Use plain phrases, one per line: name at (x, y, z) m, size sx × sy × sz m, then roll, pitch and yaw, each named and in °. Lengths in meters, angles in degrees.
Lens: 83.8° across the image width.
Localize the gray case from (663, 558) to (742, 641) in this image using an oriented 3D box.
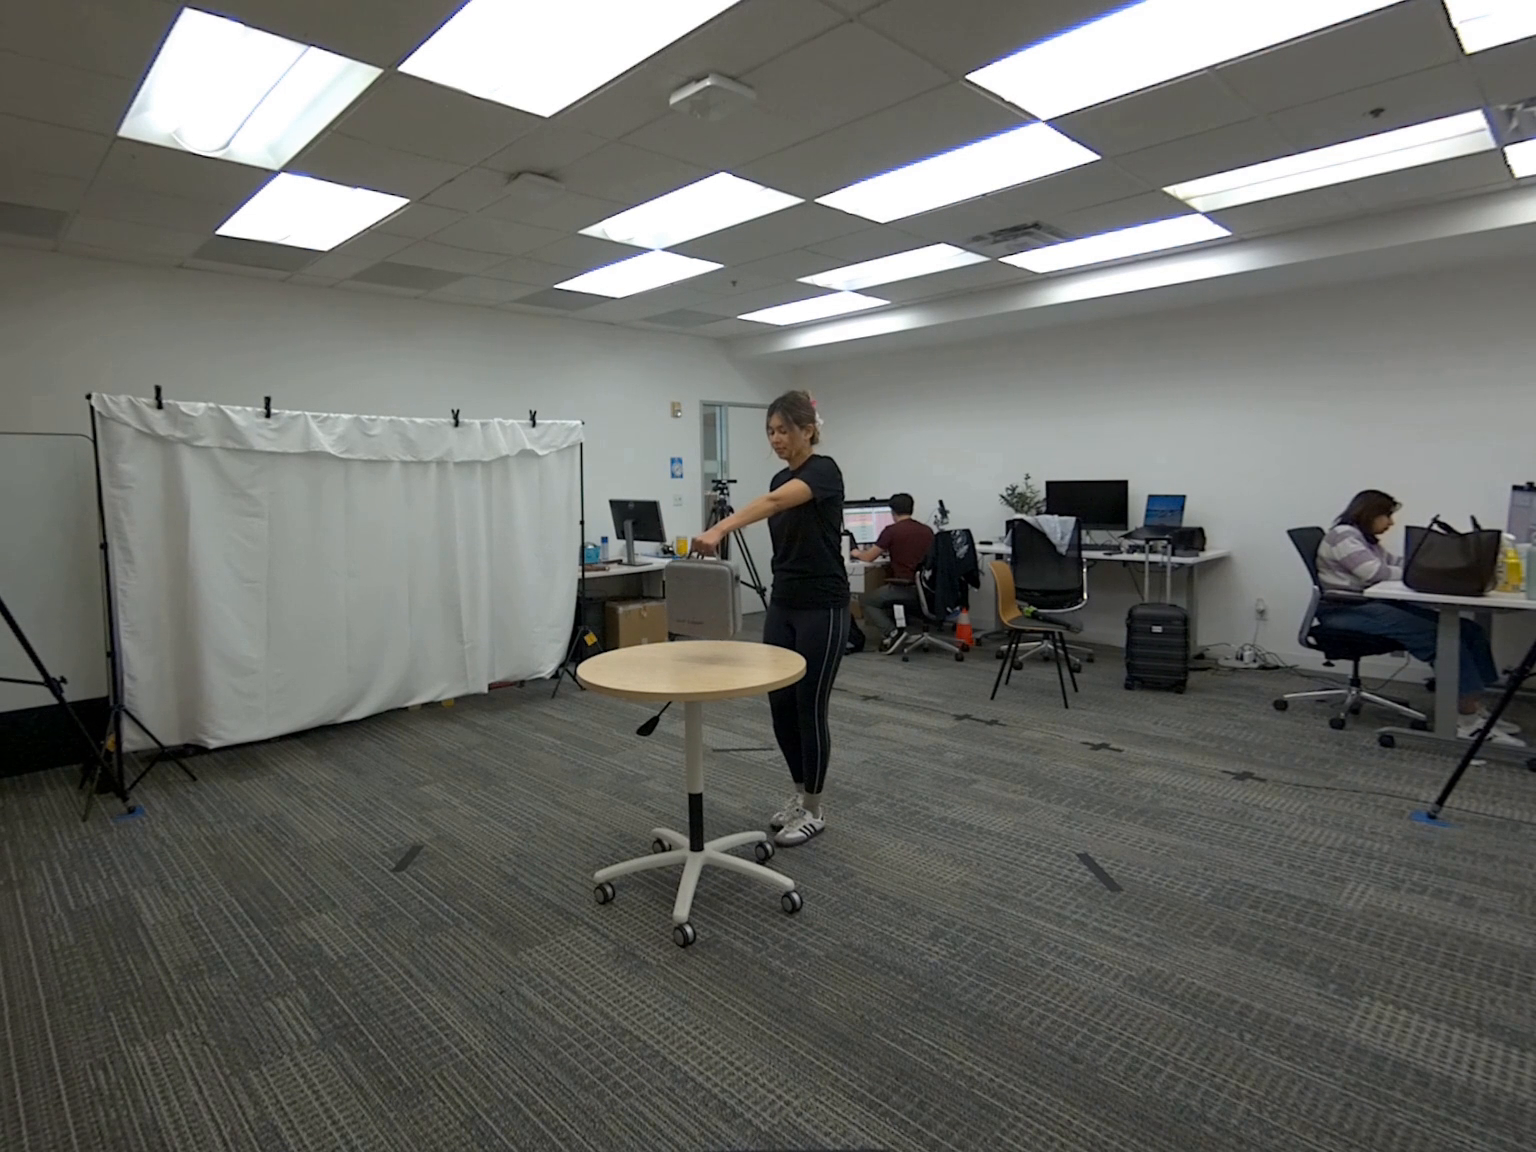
gray case at (-0.216, 0.070, 2.870) m, size 0.263 × 0.258 × 0.102 m, roll 4°, pitch 10°, yaw 26°
